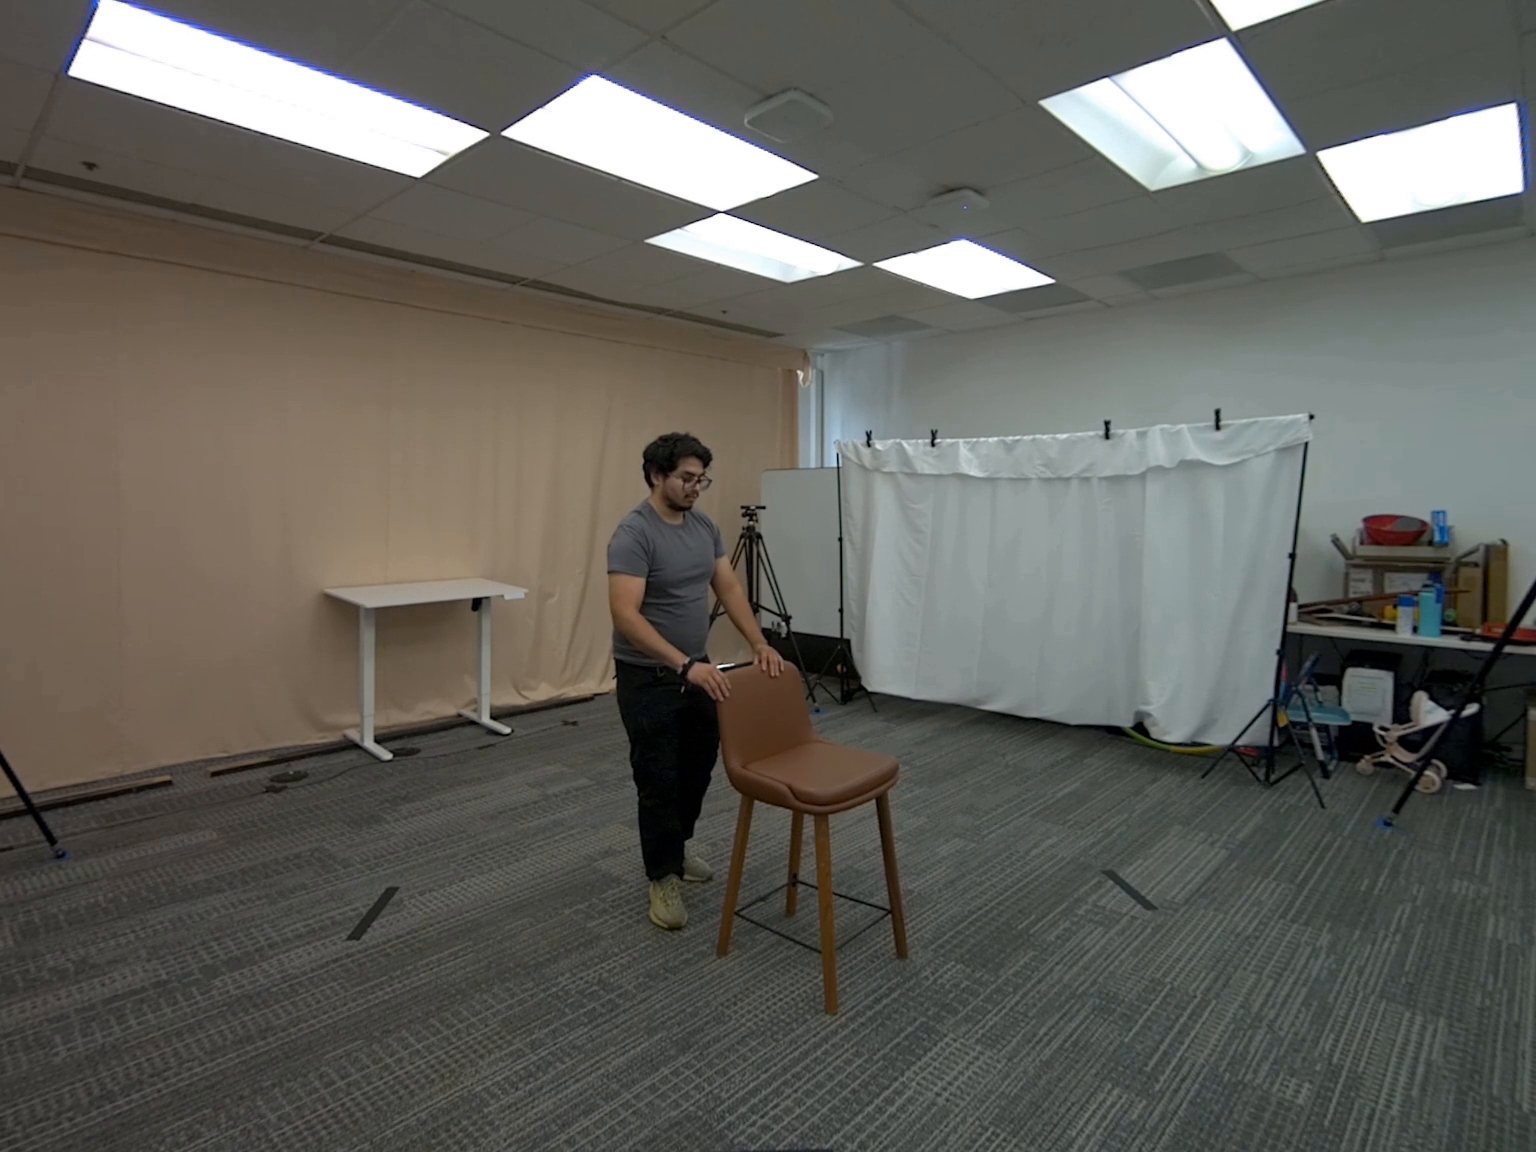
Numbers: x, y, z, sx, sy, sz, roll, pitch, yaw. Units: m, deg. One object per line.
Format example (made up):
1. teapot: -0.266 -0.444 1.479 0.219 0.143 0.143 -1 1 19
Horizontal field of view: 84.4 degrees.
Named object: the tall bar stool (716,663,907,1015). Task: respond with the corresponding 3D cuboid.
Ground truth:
1. tall bar stool: 0.126 0.740 2.582 0.483 0.889 0.442 0 2 41
